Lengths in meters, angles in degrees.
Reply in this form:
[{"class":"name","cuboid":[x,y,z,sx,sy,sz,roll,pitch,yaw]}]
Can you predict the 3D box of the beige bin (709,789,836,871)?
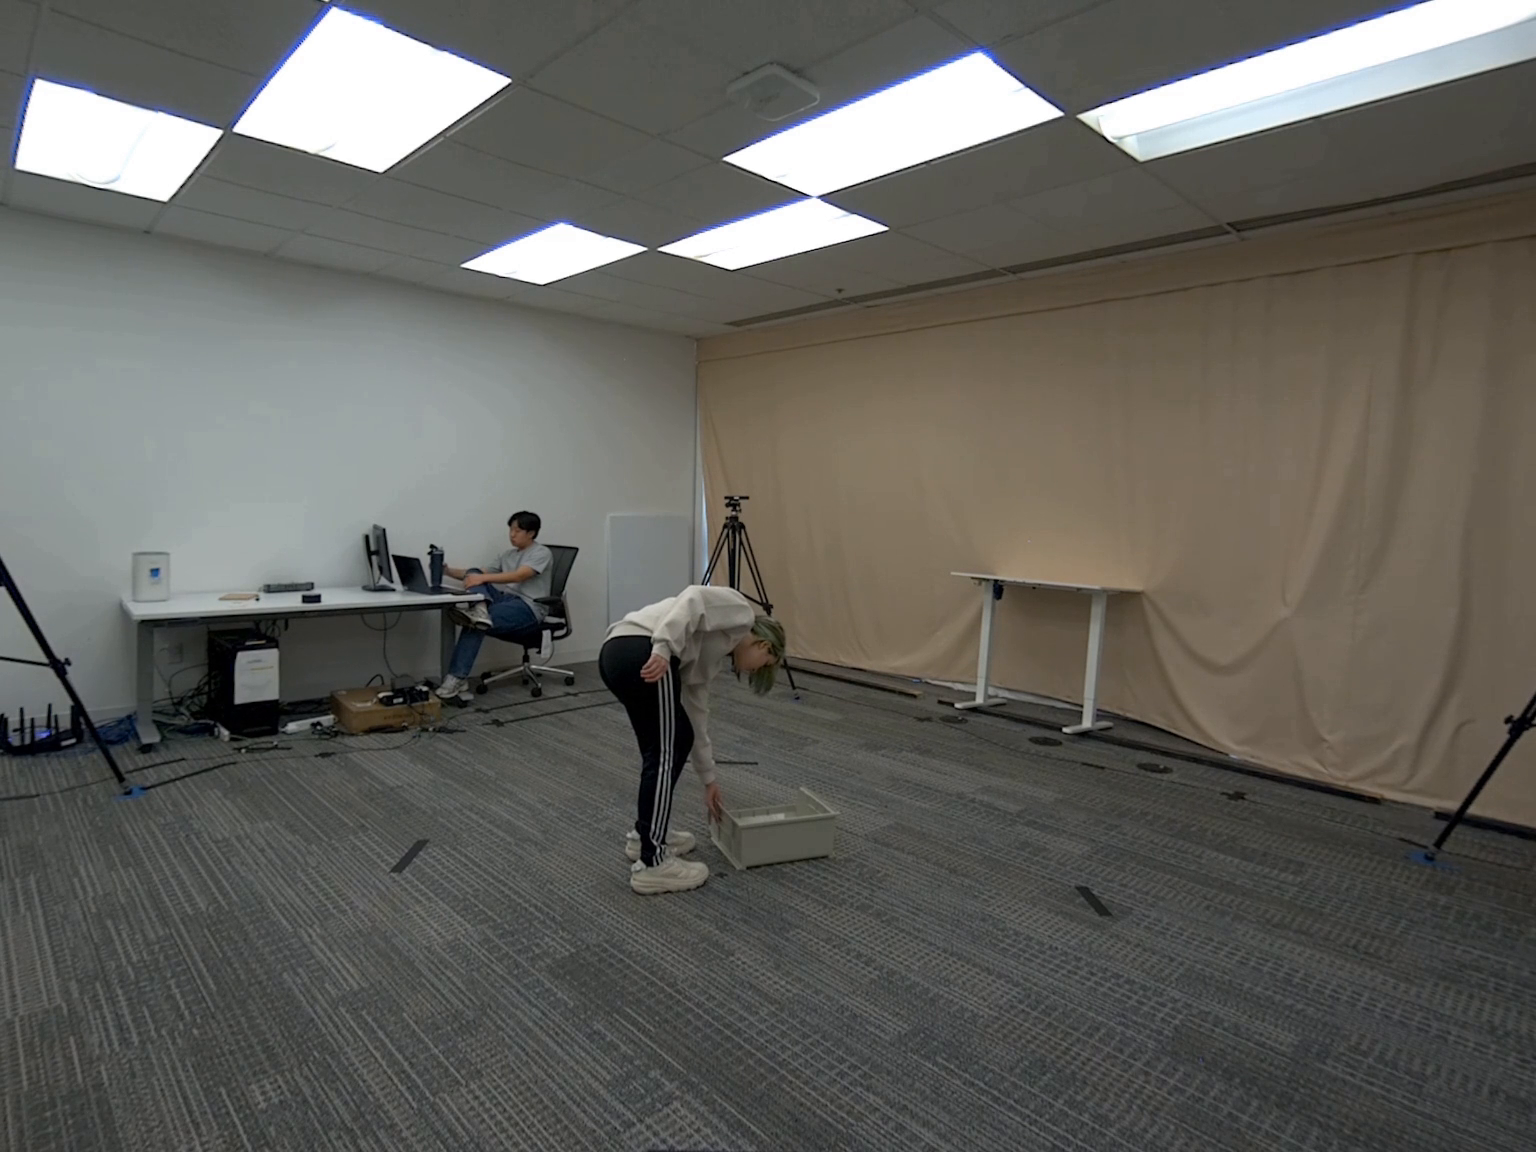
[{"class":"beige bin","cuboid":[0.004,0.993,3.376,0.415,0.188,0.385,1,5,-22]}]
